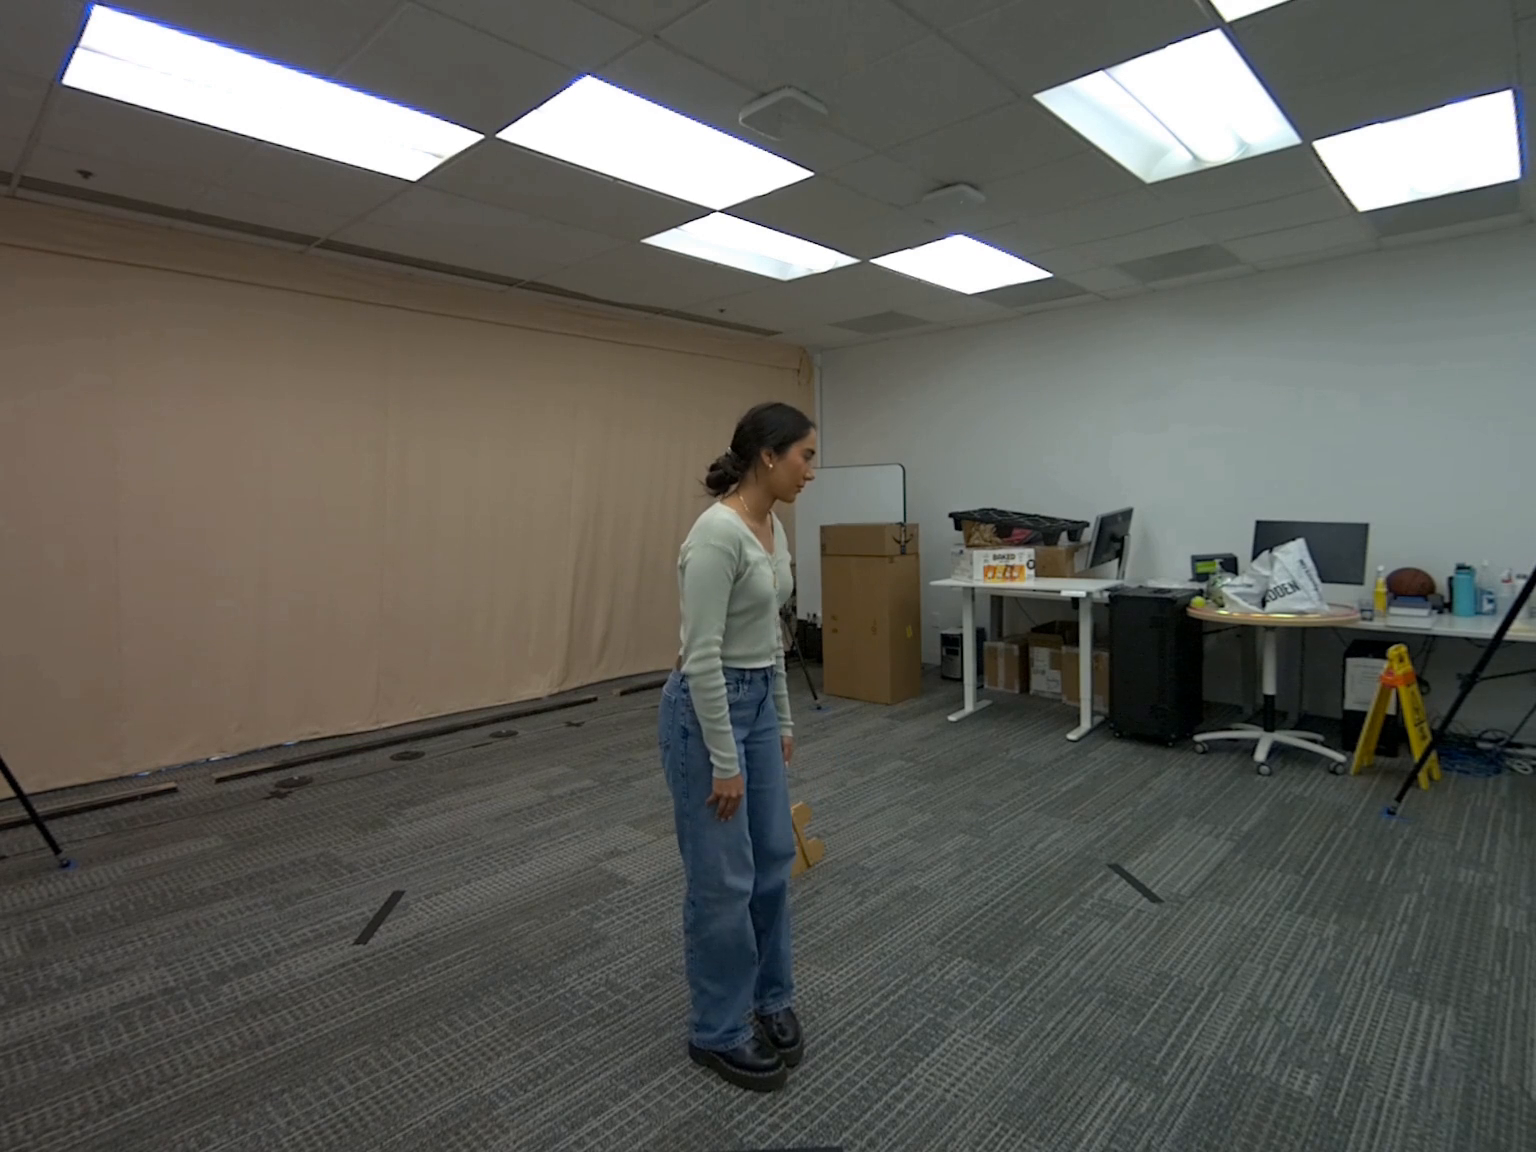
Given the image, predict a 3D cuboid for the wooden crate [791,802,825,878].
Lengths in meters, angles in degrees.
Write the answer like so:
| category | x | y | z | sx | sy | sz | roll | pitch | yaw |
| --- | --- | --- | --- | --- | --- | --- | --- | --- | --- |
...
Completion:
| category | x | y | z | sx | sy | sz | roll | pitch | yaw |
| --- | --- | --- | --- | --- | --- | --- | --- | --- | --- |
| wooden crate | 0.018 | 0.977 | 3.284 | 0.335 | 0.272 | 0.293 | 2 | 6 | 35 |
